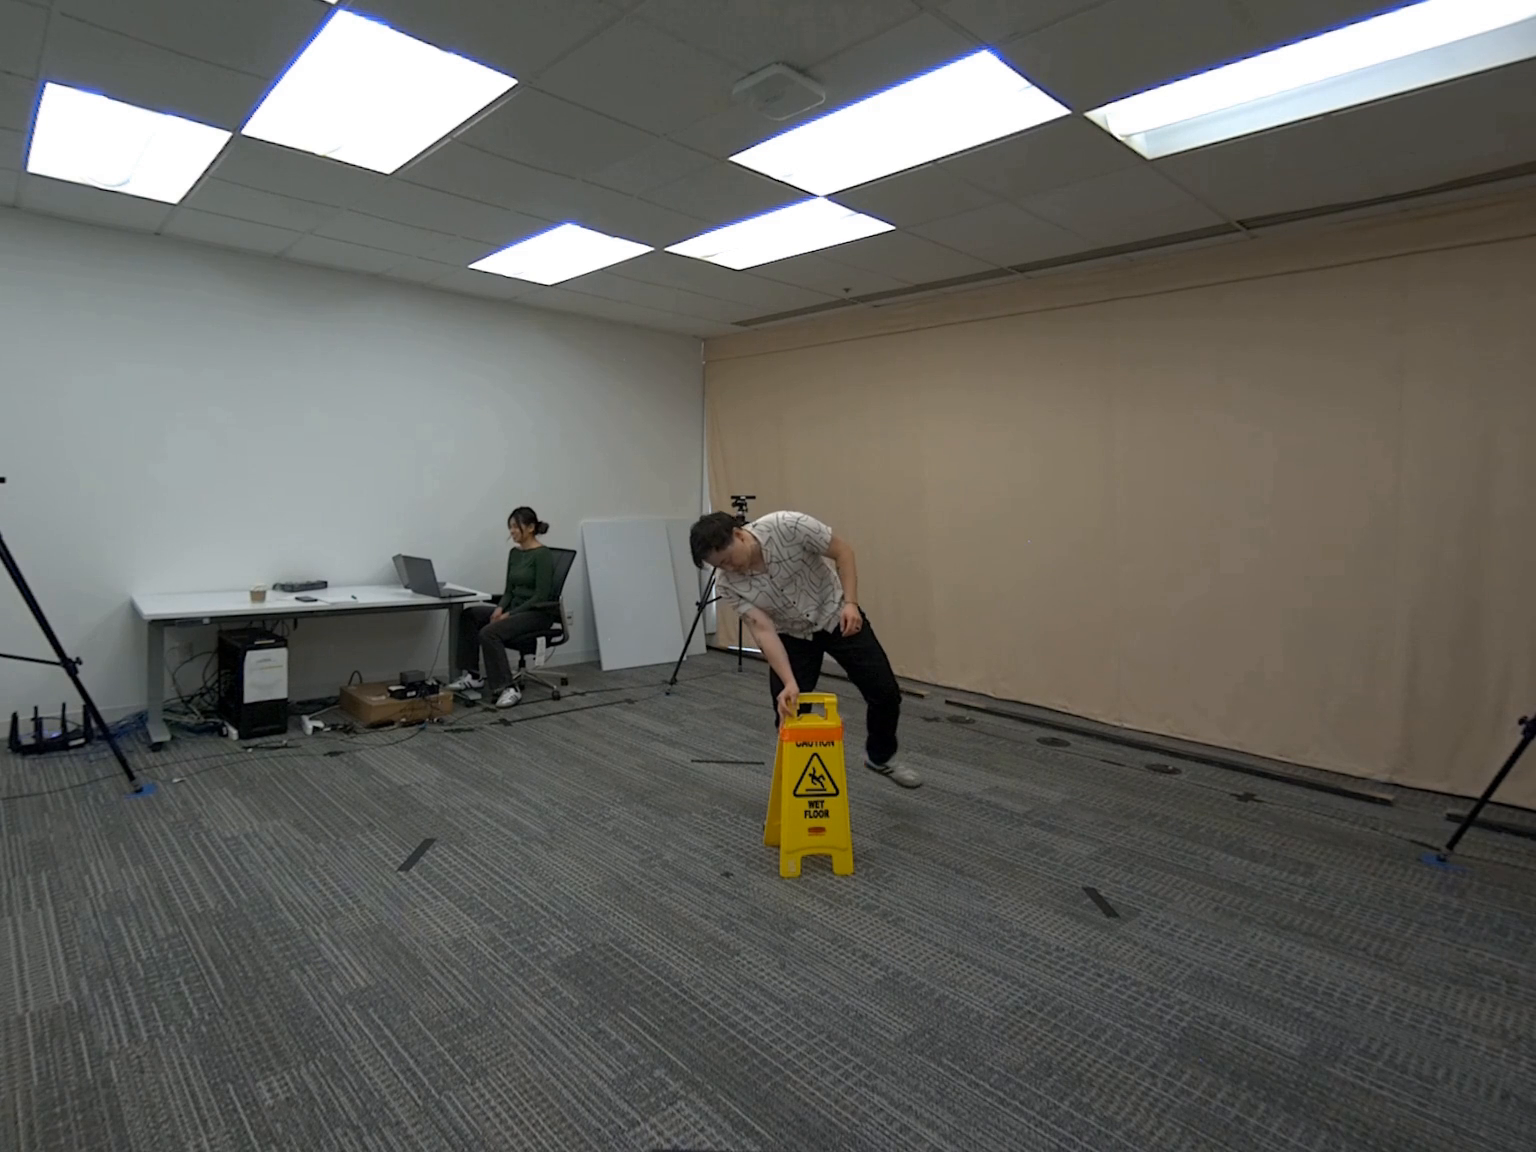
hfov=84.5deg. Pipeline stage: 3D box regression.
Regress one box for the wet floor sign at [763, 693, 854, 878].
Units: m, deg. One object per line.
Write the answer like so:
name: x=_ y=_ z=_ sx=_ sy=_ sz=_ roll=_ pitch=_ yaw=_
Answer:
wet floor sign: x=0.149 y=0.773 z=3.235 sx=0.280 sy=0.644 sz=0.293 roll=2 pitch=3 yaw=-11
